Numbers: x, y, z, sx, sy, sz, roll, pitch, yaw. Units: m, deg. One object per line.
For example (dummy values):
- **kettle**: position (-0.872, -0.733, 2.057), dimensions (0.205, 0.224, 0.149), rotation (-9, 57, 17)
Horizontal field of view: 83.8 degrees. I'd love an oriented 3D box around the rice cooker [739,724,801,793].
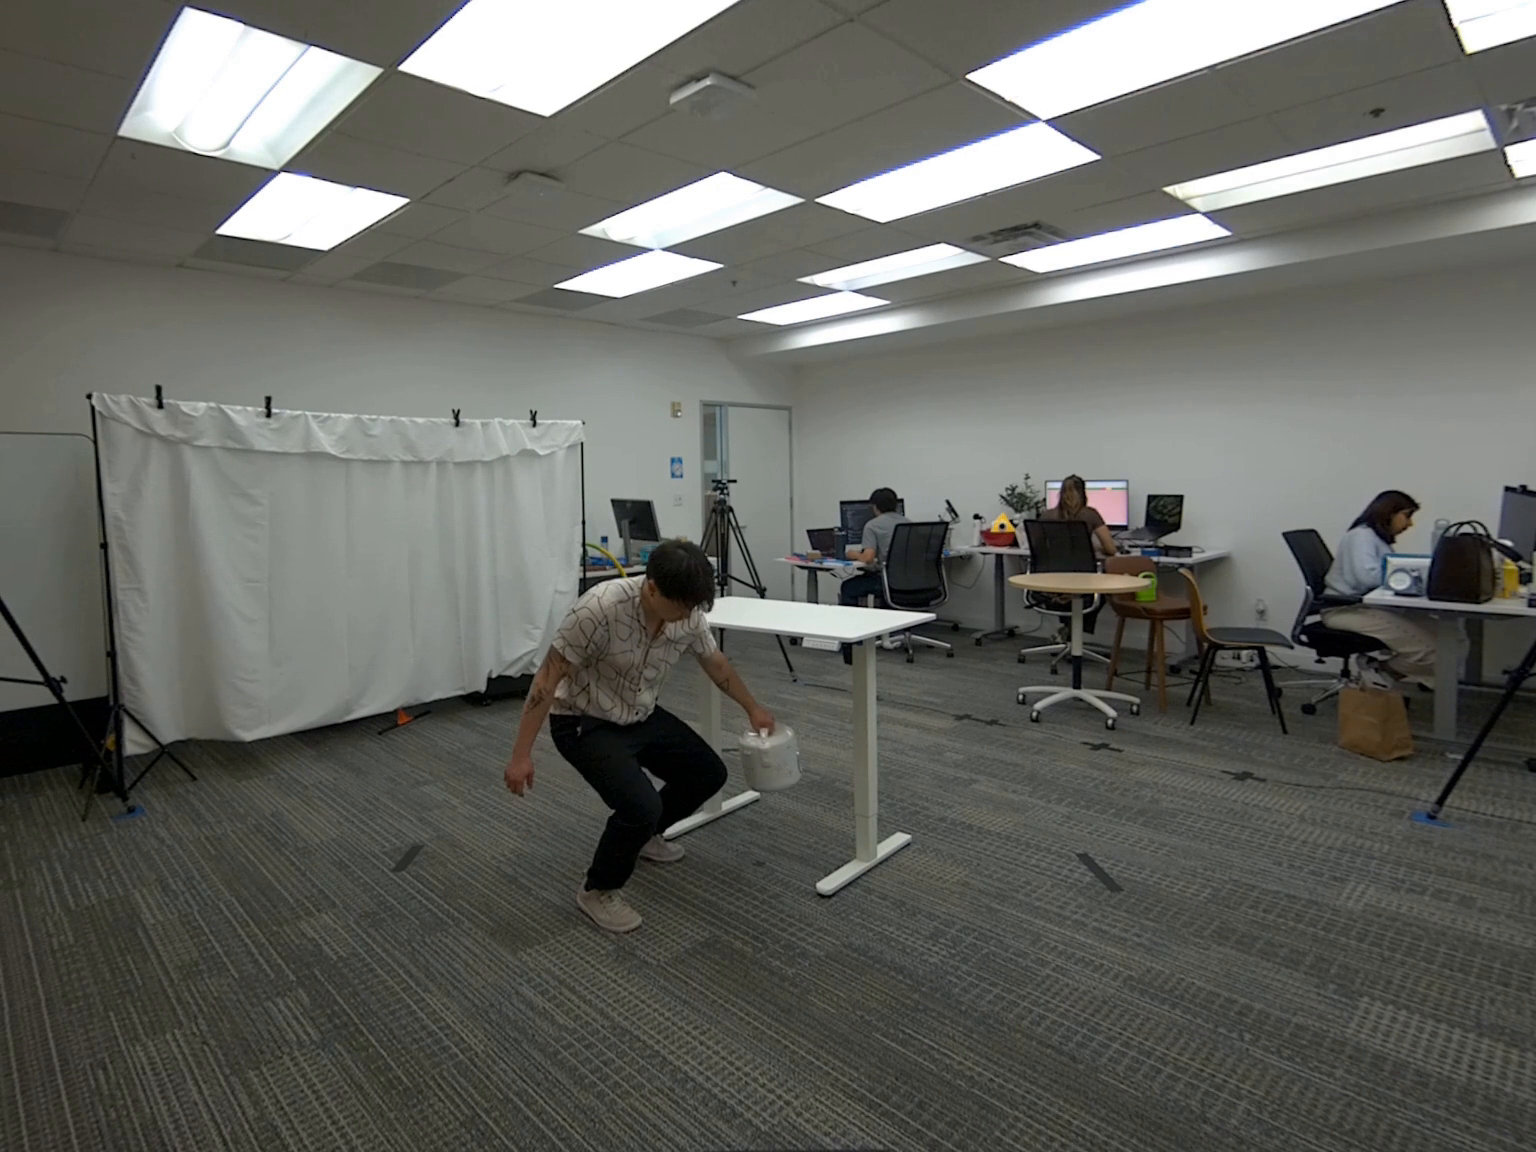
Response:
- **rice cooker**: position (0.004, 0.649, 3.132), dimensions (0.219, 0.231, 0.221), rotation (-8, 10, 7)
